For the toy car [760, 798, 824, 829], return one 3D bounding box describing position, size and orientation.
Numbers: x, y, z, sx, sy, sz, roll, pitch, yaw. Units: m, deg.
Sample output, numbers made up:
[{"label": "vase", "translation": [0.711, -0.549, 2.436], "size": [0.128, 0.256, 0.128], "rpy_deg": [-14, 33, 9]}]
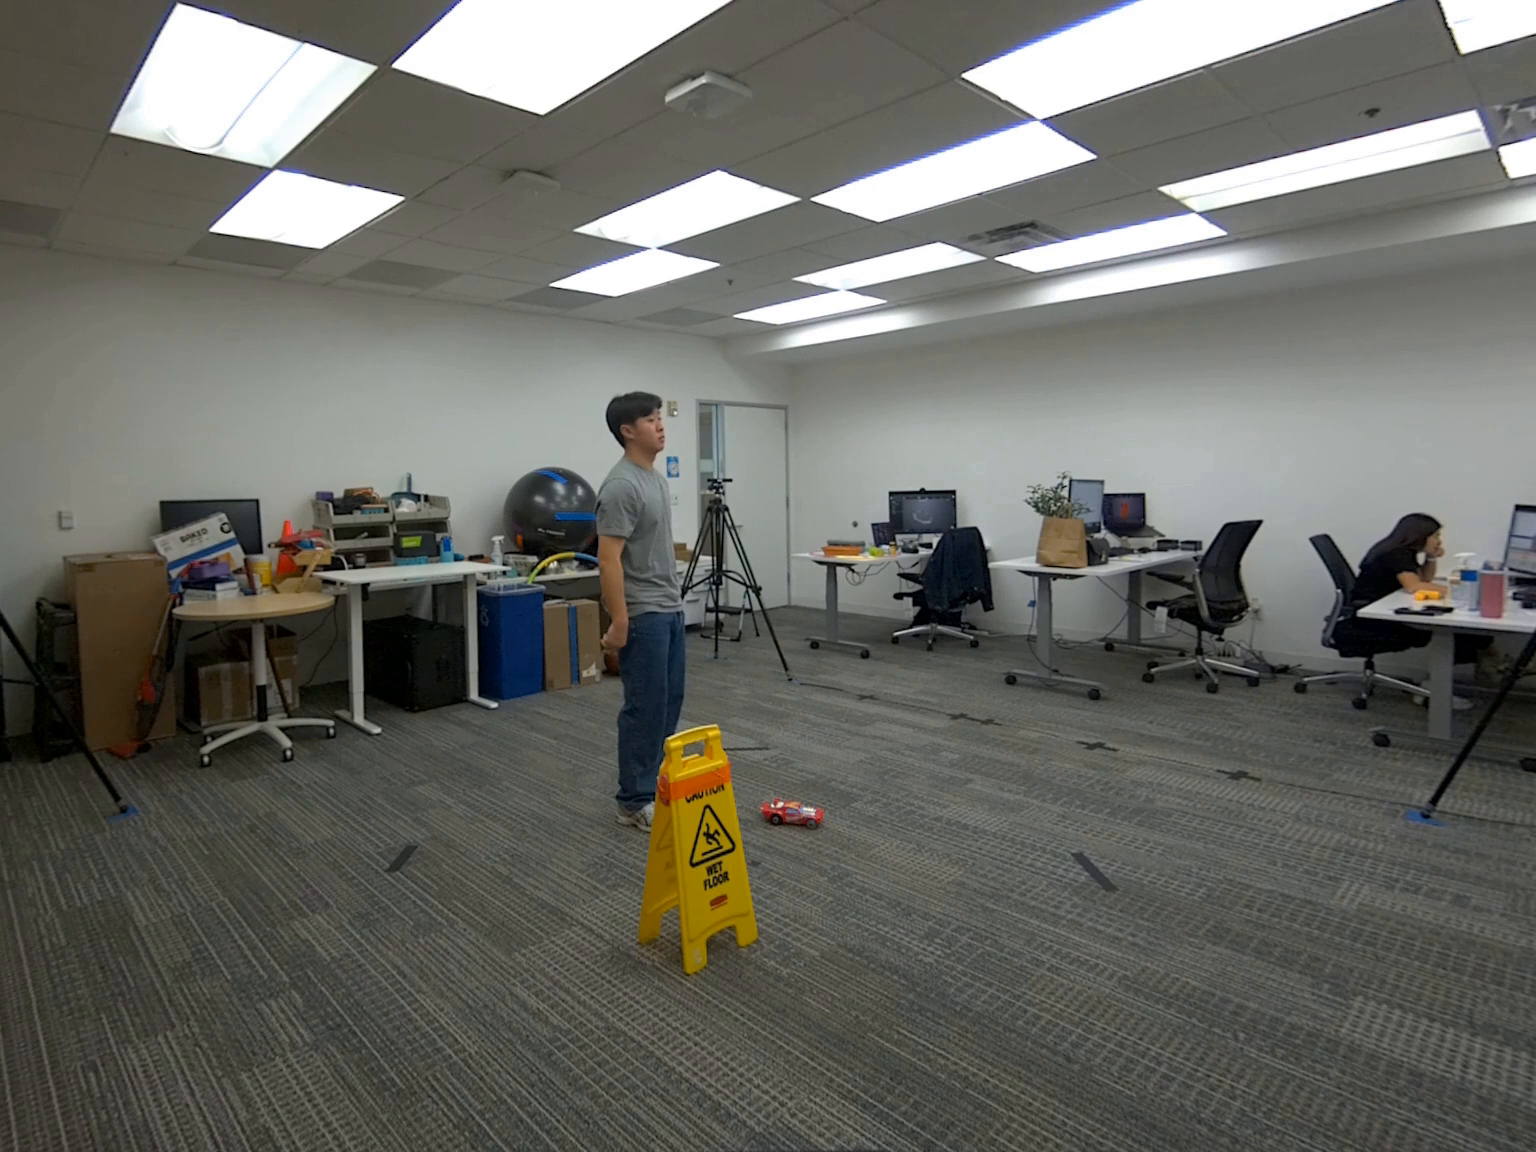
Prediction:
[{"label": "toy car", "translation": [0.091, 0.962, 3.474], "size": [0.259, 0.083, 0.129], "rpy_deg": [13, 8, 13]}]
